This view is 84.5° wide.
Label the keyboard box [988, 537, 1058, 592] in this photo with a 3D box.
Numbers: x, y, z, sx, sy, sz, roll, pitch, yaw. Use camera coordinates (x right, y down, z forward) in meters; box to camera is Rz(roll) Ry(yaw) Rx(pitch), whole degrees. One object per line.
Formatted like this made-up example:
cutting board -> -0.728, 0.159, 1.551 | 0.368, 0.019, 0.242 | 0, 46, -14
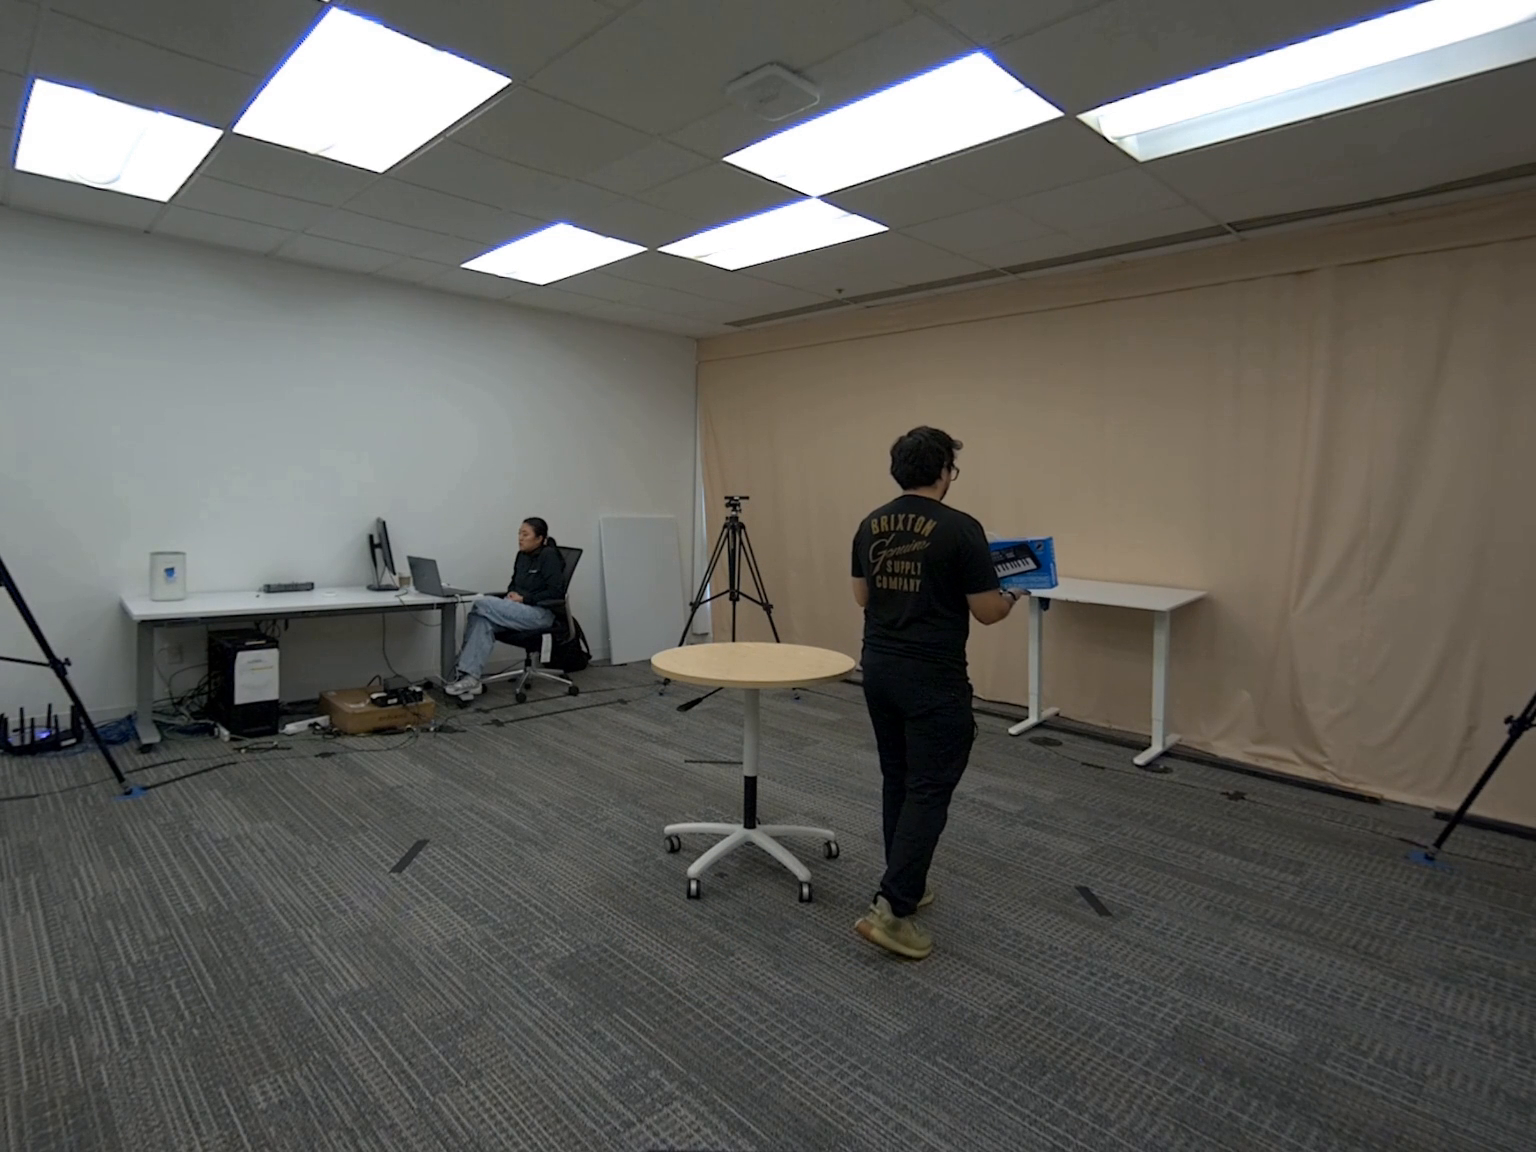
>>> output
keyboard box -> 0.782, -0.033, 2.980 | 0.446, 0.175, 0.058 | -4, 6, 40
